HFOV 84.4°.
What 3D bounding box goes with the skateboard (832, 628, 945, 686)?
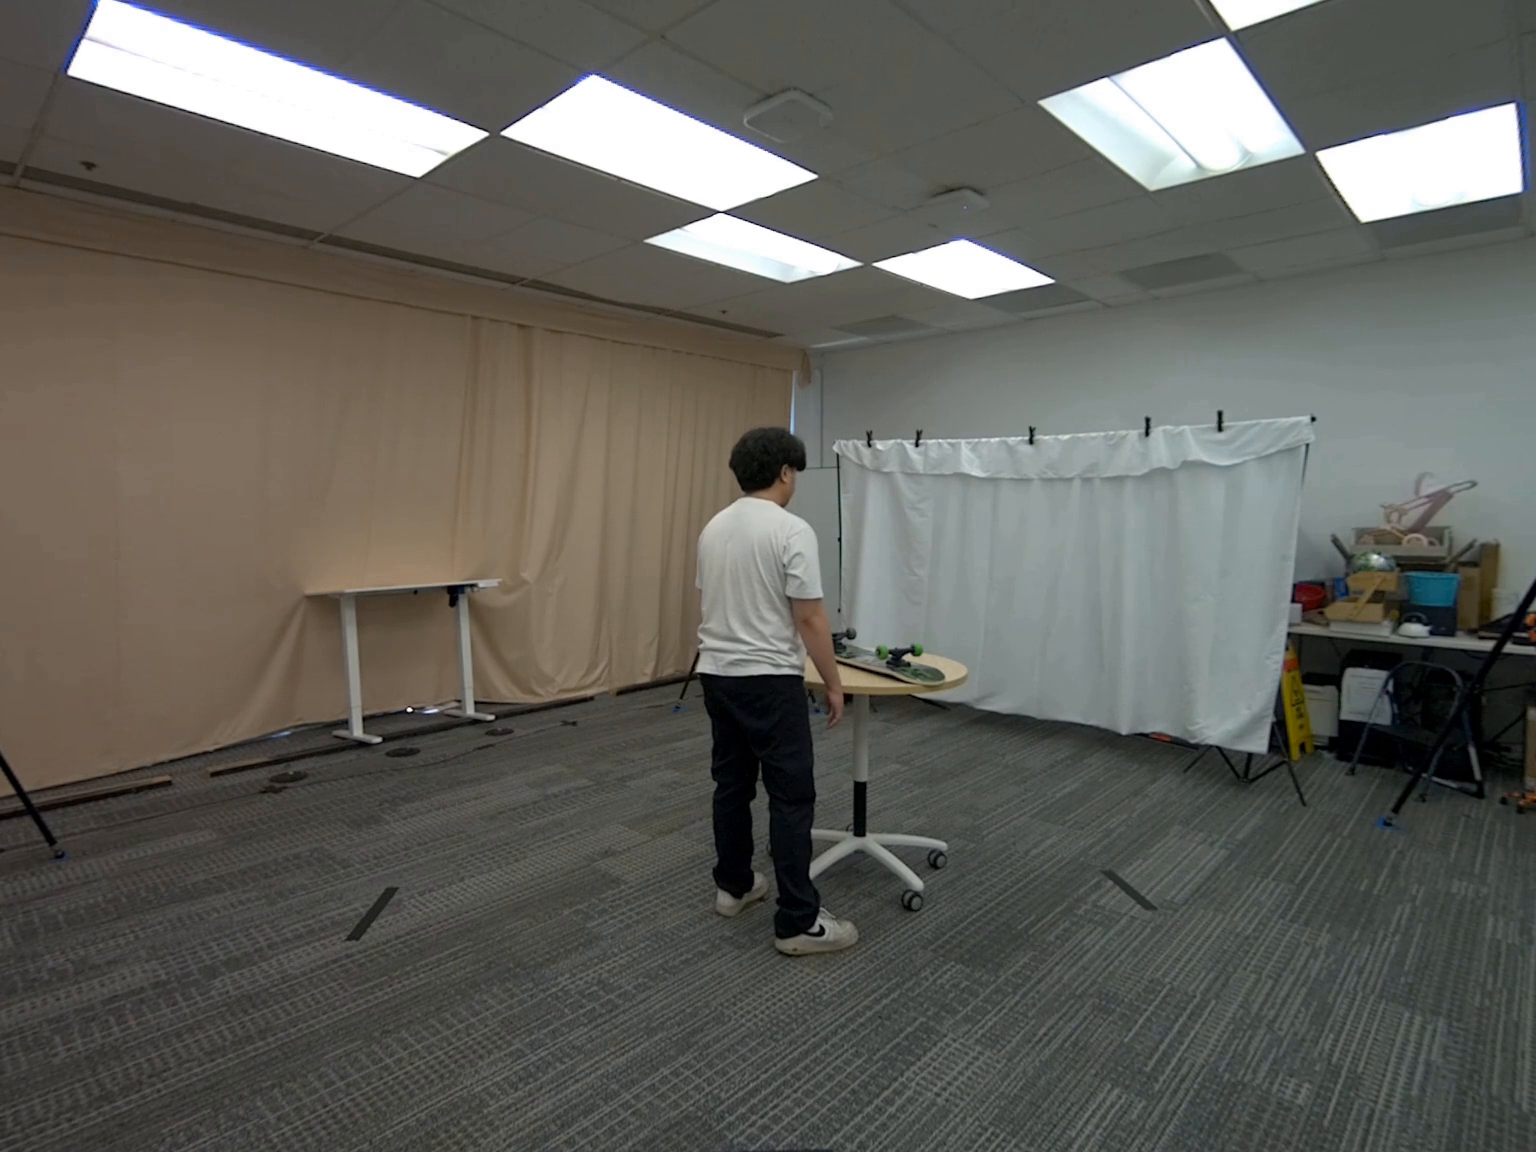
[{"bbox_3d":[0.379,0.284,3.169,0.188,0.110,0.808,-1,5,-29],"label":"skateboard"}]
